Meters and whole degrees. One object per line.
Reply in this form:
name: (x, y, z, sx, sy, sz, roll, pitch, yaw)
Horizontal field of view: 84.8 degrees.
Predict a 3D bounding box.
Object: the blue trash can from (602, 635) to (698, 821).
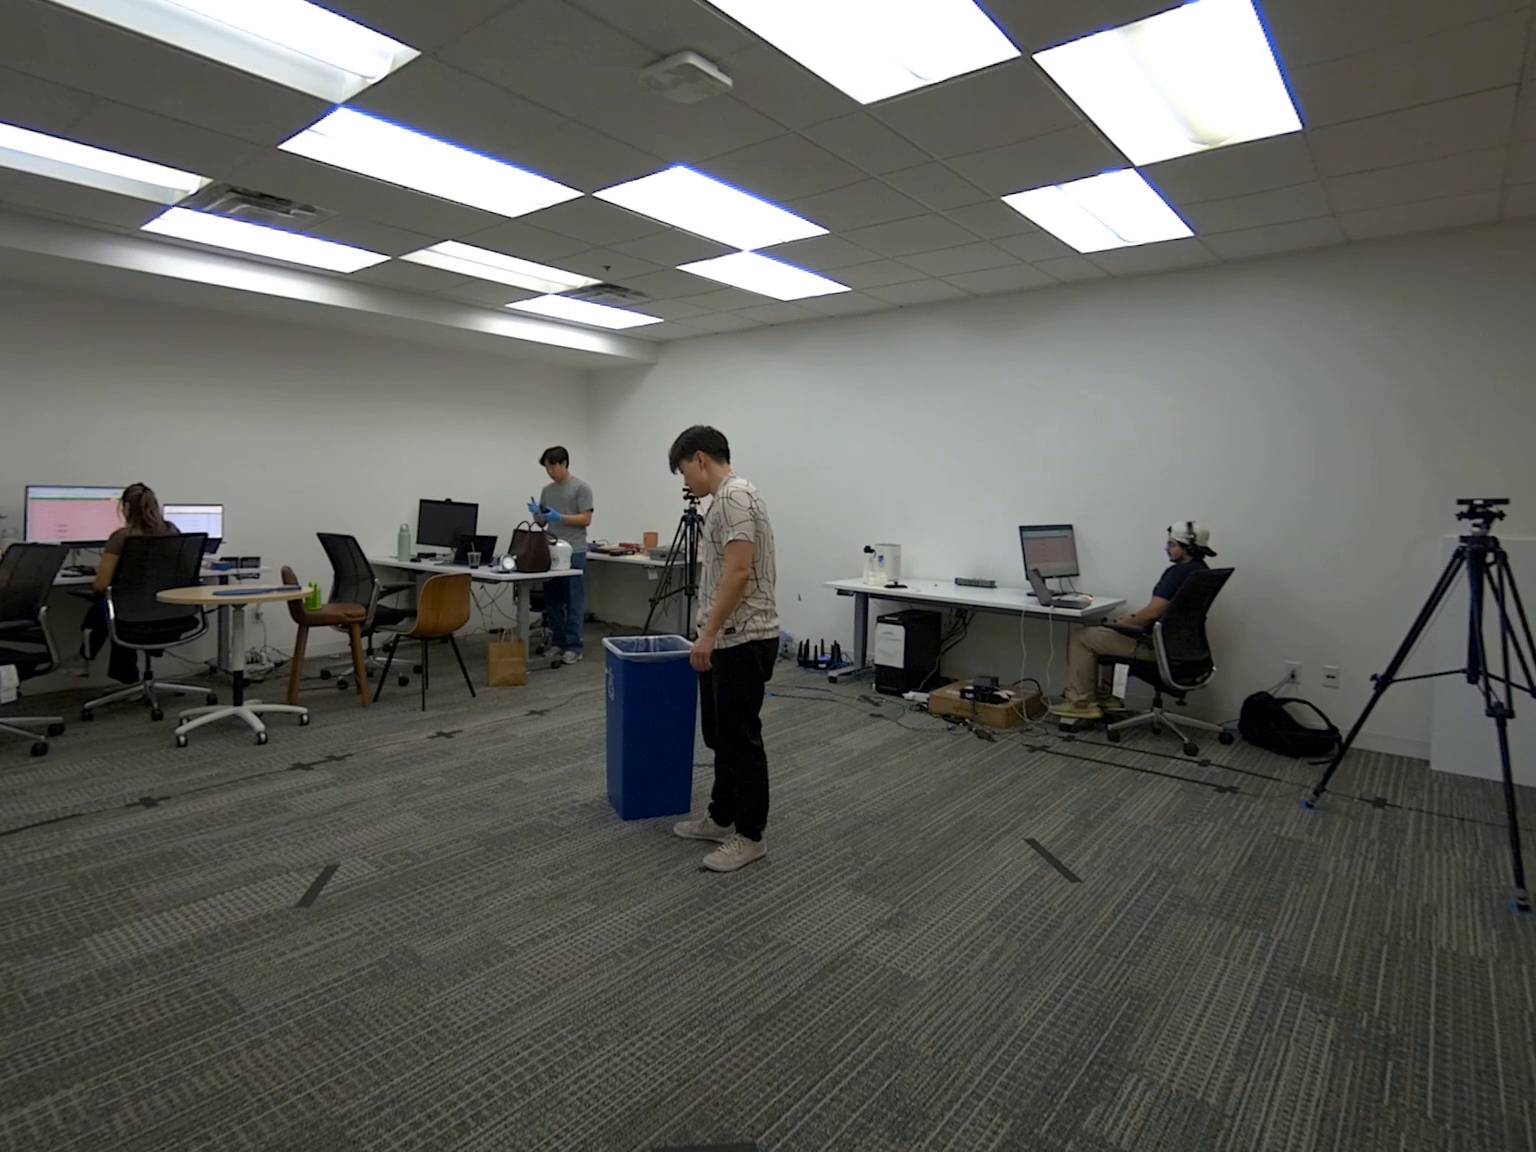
blue trash can: (-0.526, 0.647, 3.716, 0.370, 0.711, 0.384, 0, 4, -23)
